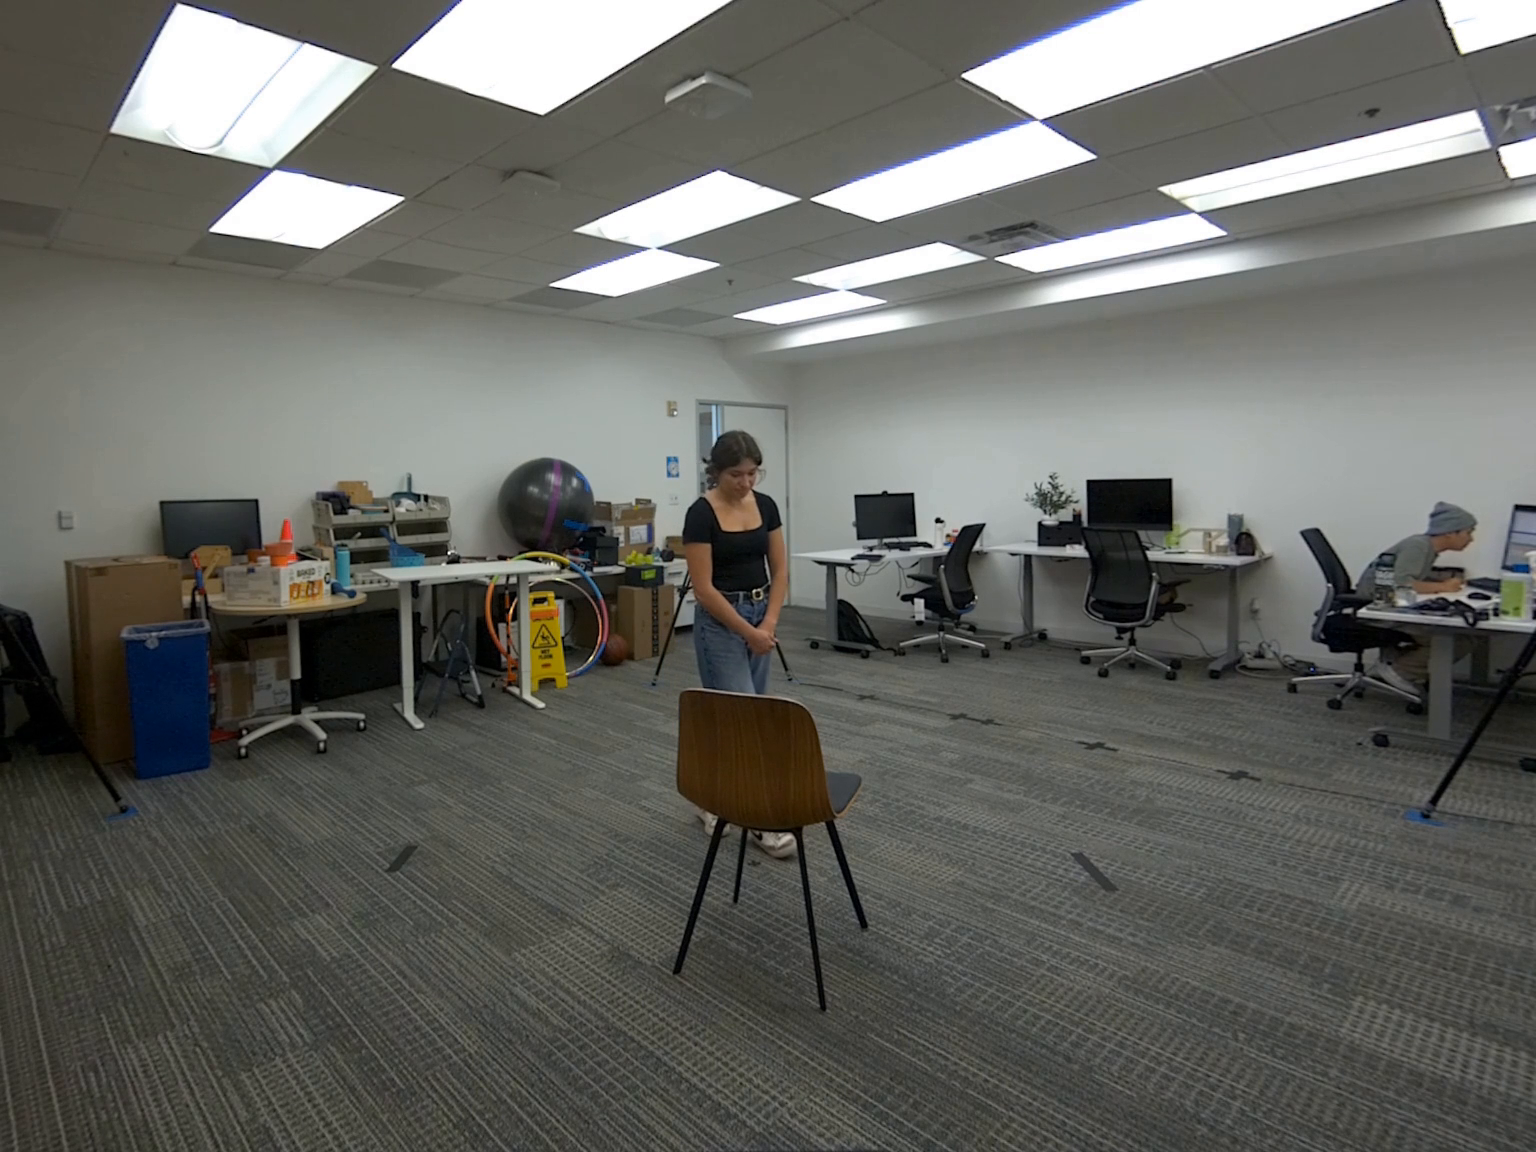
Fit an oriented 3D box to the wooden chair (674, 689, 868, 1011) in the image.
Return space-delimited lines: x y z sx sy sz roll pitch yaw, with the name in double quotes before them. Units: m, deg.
"wooden chair" 0.014 0.690 2.509 0.488 0.870 0.516 1 9 23
